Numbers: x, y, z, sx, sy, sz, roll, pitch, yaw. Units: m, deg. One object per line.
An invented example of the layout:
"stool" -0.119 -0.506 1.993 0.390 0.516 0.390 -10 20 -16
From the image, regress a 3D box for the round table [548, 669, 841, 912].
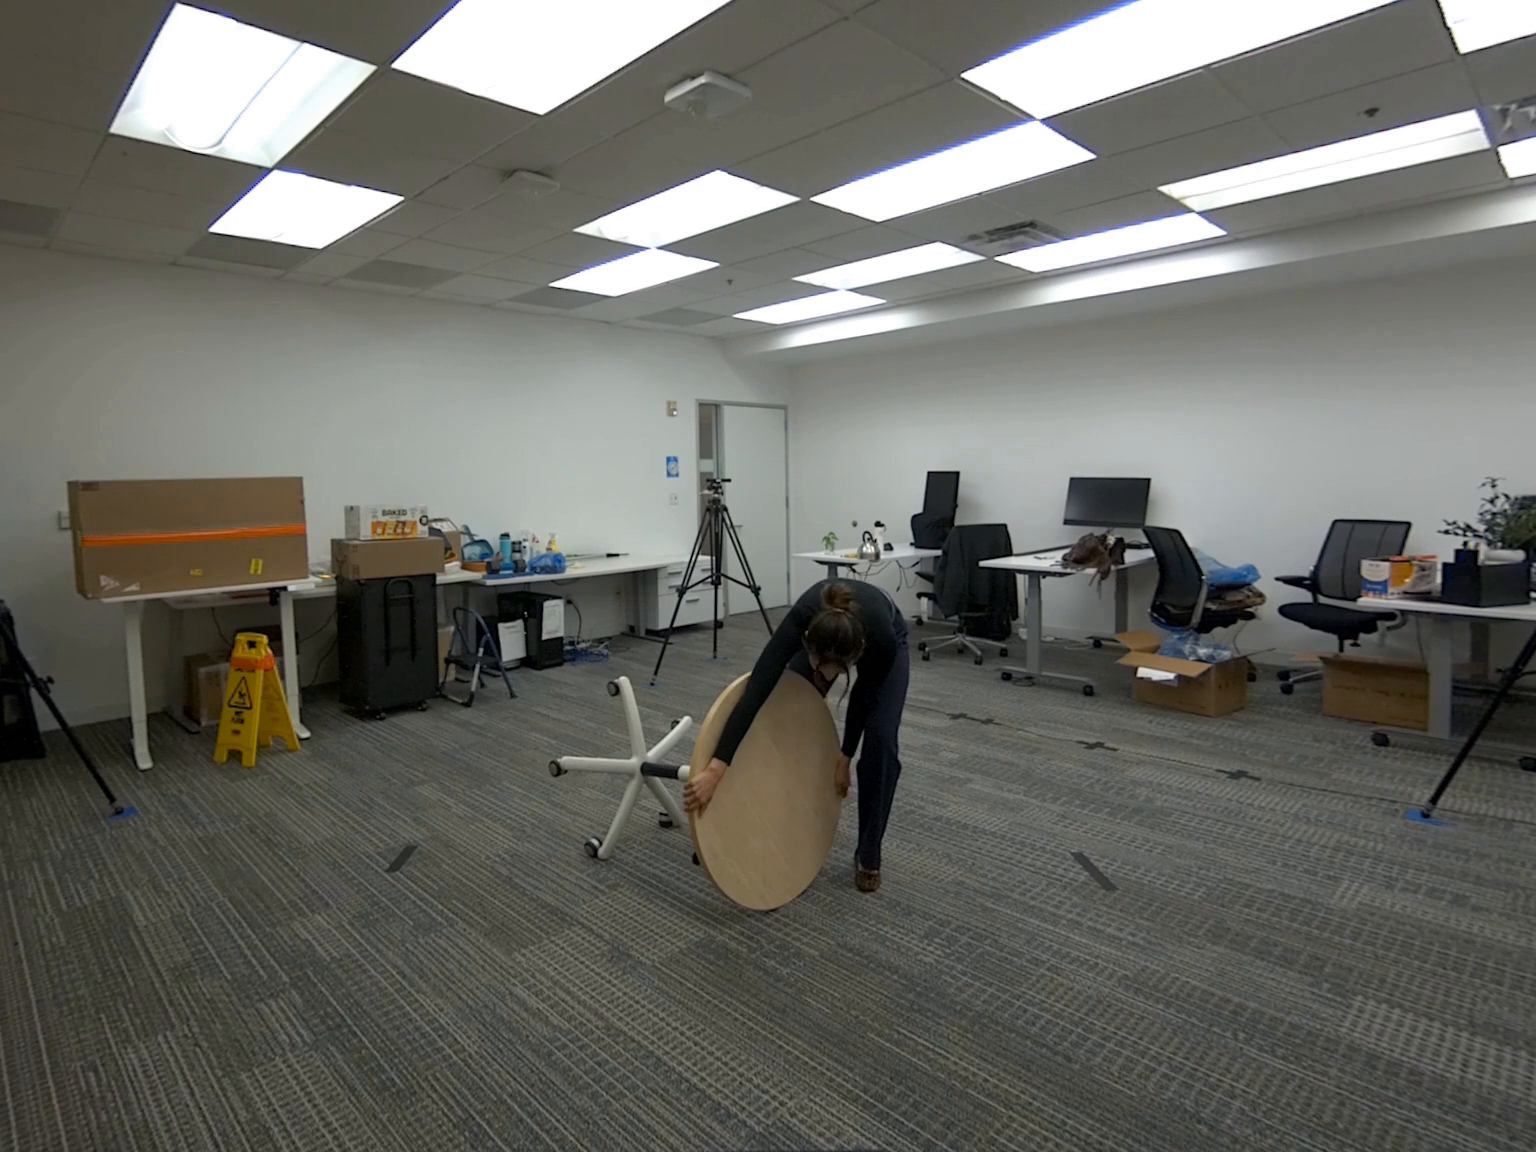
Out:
"round table" -0.270 0.722 3.097 0.814 0.765 0.744 -6 0 41
